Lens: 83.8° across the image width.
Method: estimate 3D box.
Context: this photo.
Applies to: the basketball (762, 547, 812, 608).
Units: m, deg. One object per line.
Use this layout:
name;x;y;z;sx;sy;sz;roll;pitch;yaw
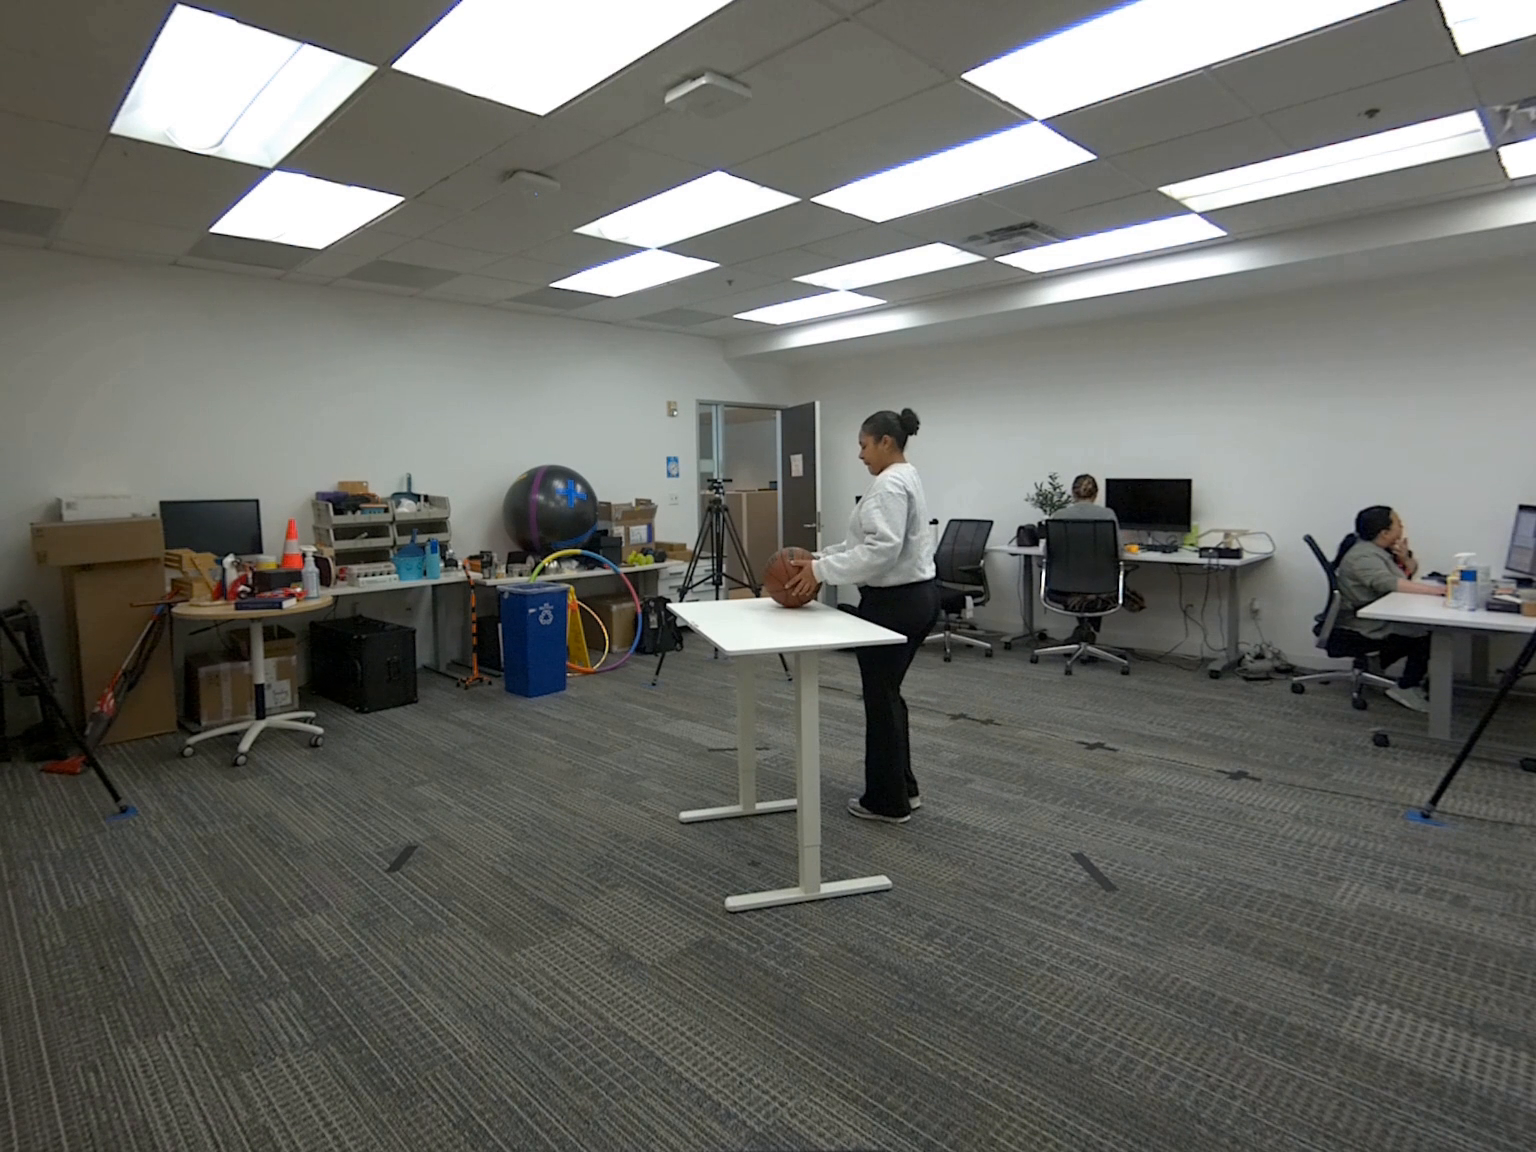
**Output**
basketball;0.106;0.000;3.400;0.236;0.235;0.237;-1;5;-2
